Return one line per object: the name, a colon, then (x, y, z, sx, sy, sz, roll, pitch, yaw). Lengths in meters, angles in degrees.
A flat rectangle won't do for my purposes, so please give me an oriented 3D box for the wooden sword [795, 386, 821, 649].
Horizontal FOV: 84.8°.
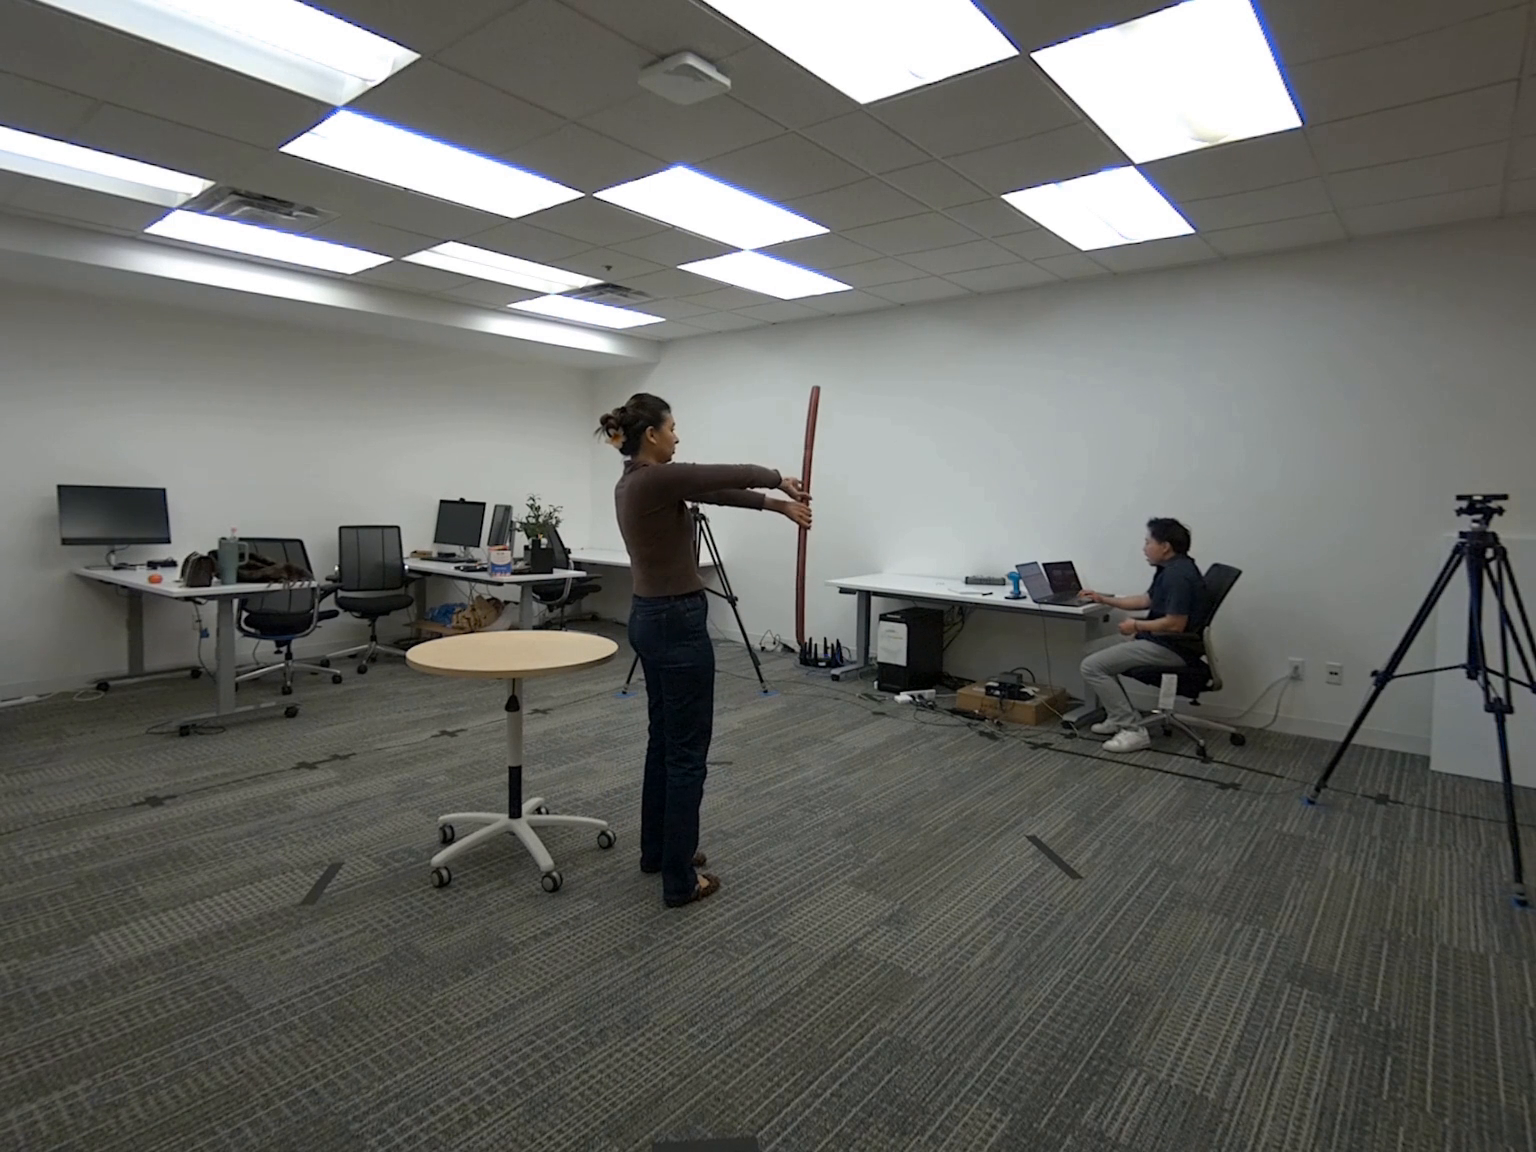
wooden sword: (0.131, -0.249, 3.159, 0.023, 1.039, 0.052, 16, -20, -28)
